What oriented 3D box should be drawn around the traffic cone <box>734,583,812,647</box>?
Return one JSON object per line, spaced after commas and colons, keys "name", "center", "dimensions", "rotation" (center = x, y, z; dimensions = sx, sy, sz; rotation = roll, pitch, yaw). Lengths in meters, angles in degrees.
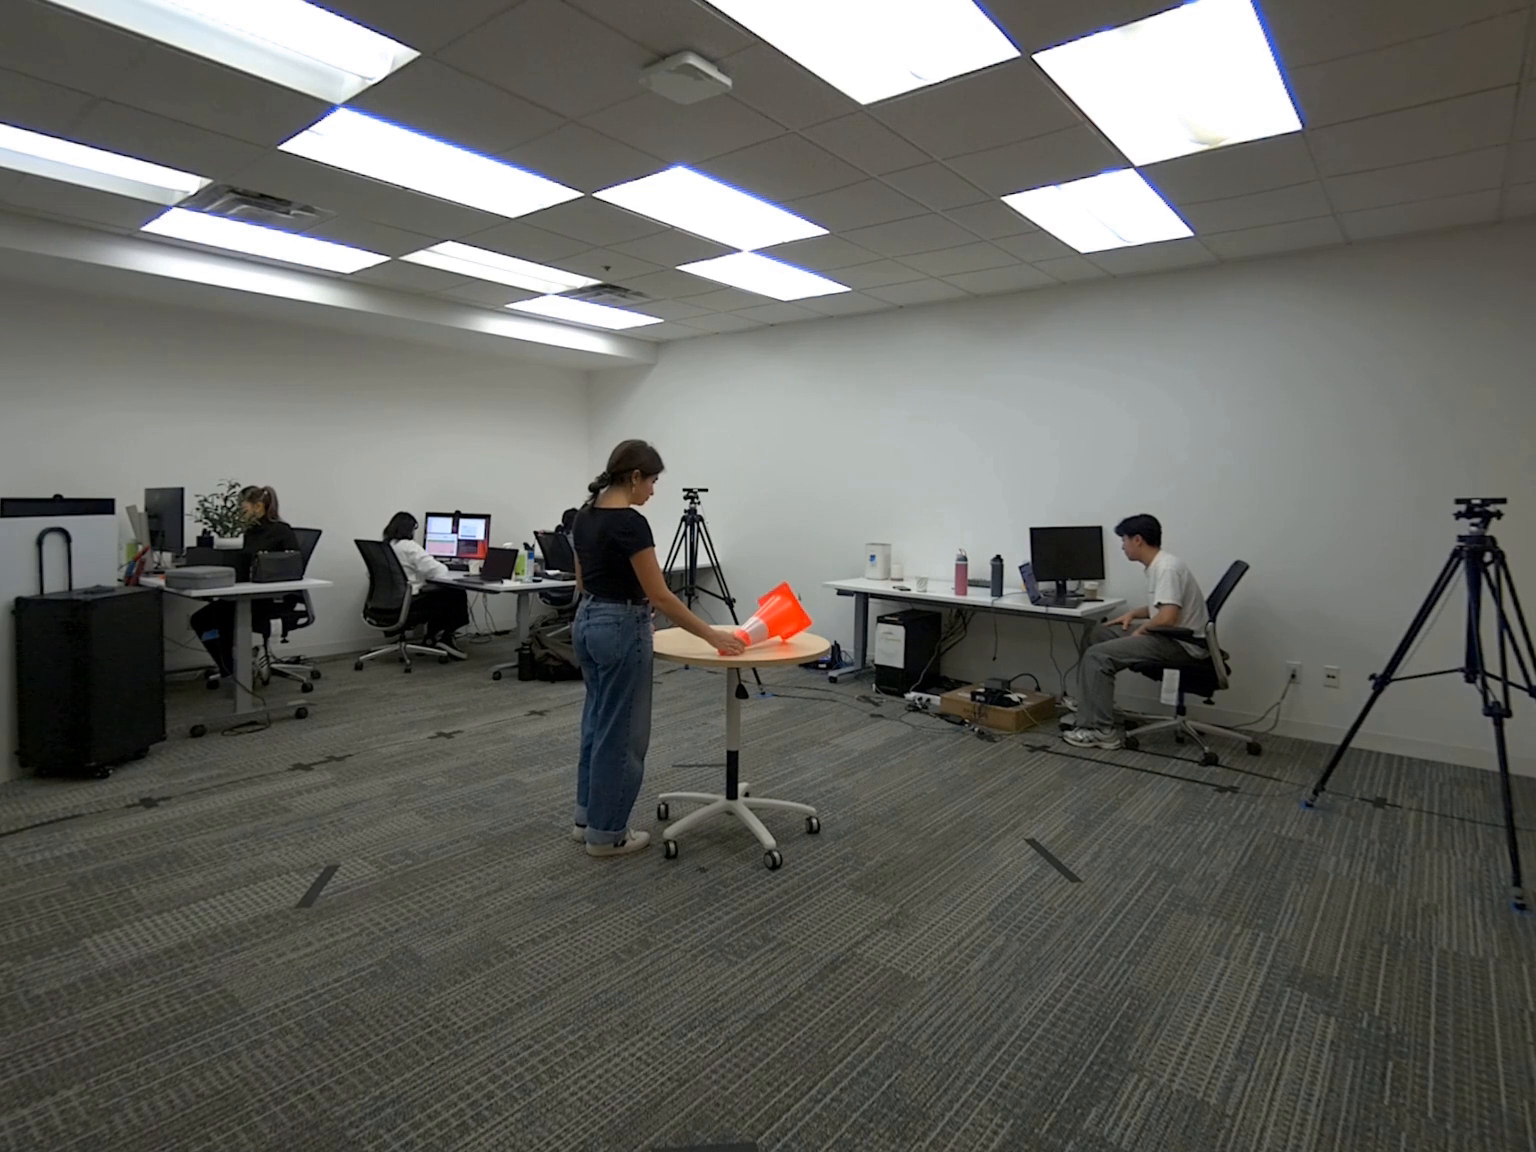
{"name": "traffic cone", "center": [-0.054, 0.209, 3.266], "dimensions": [0.378, 0.205, 0.206], "rotation": [-28, -7, -40]}
